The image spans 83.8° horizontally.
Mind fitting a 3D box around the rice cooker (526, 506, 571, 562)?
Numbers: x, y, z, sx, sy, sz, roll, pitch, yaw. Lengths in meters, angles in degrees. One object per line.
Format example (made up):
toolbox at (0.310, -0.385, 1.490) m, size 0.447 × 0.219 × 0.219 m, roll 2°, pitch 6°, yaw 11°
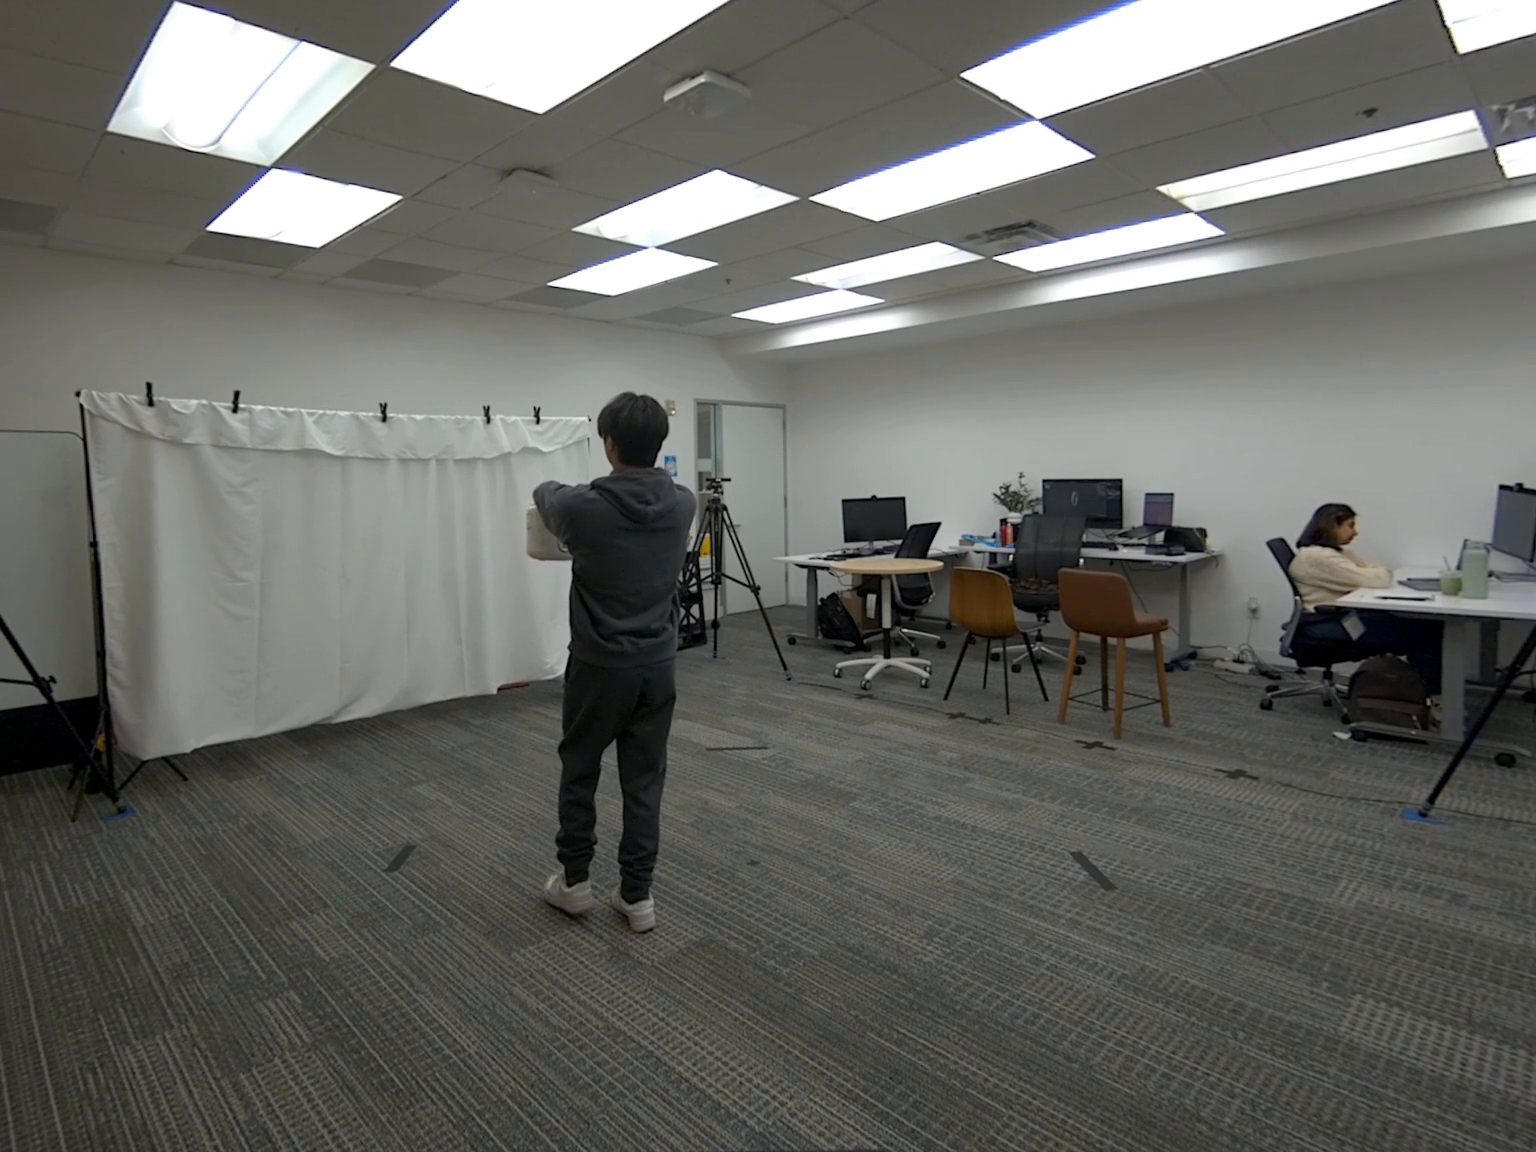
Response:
rice cooker at (-0.776, -0.176, 3.131) m, size 0.215 × 0.232 × 0.224 m, roll 0°, pitch 4°, yaw -32°
